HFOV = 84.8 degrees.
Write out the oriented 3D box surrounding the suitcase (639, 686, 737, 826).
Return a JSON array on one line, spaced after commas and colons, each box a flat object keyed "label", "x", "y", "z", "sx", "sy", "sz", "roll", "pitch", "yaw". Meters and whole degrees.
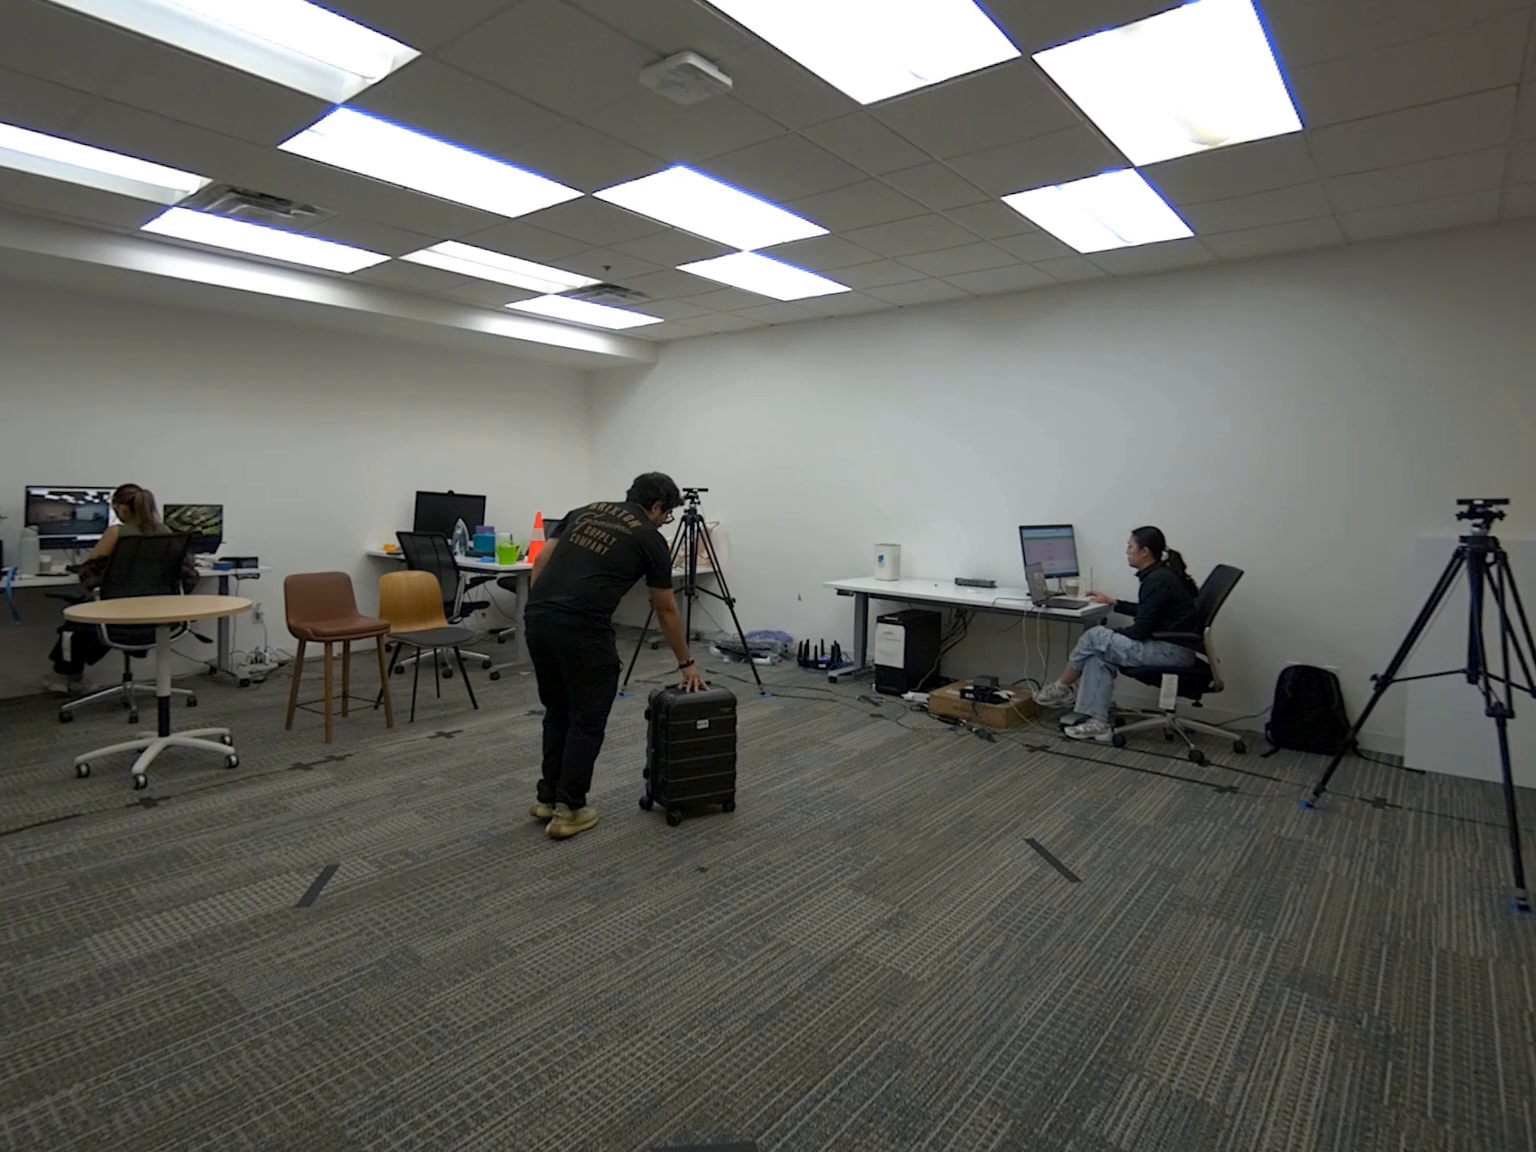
[{"label": "suitcase", "x": -0.342, "y": 0.742, "z": 3.680, "sx": 0.365, "sy": 0.548, "sz": 0.256, "roll": -1, "pitch": 4, "yaw": -31}]
